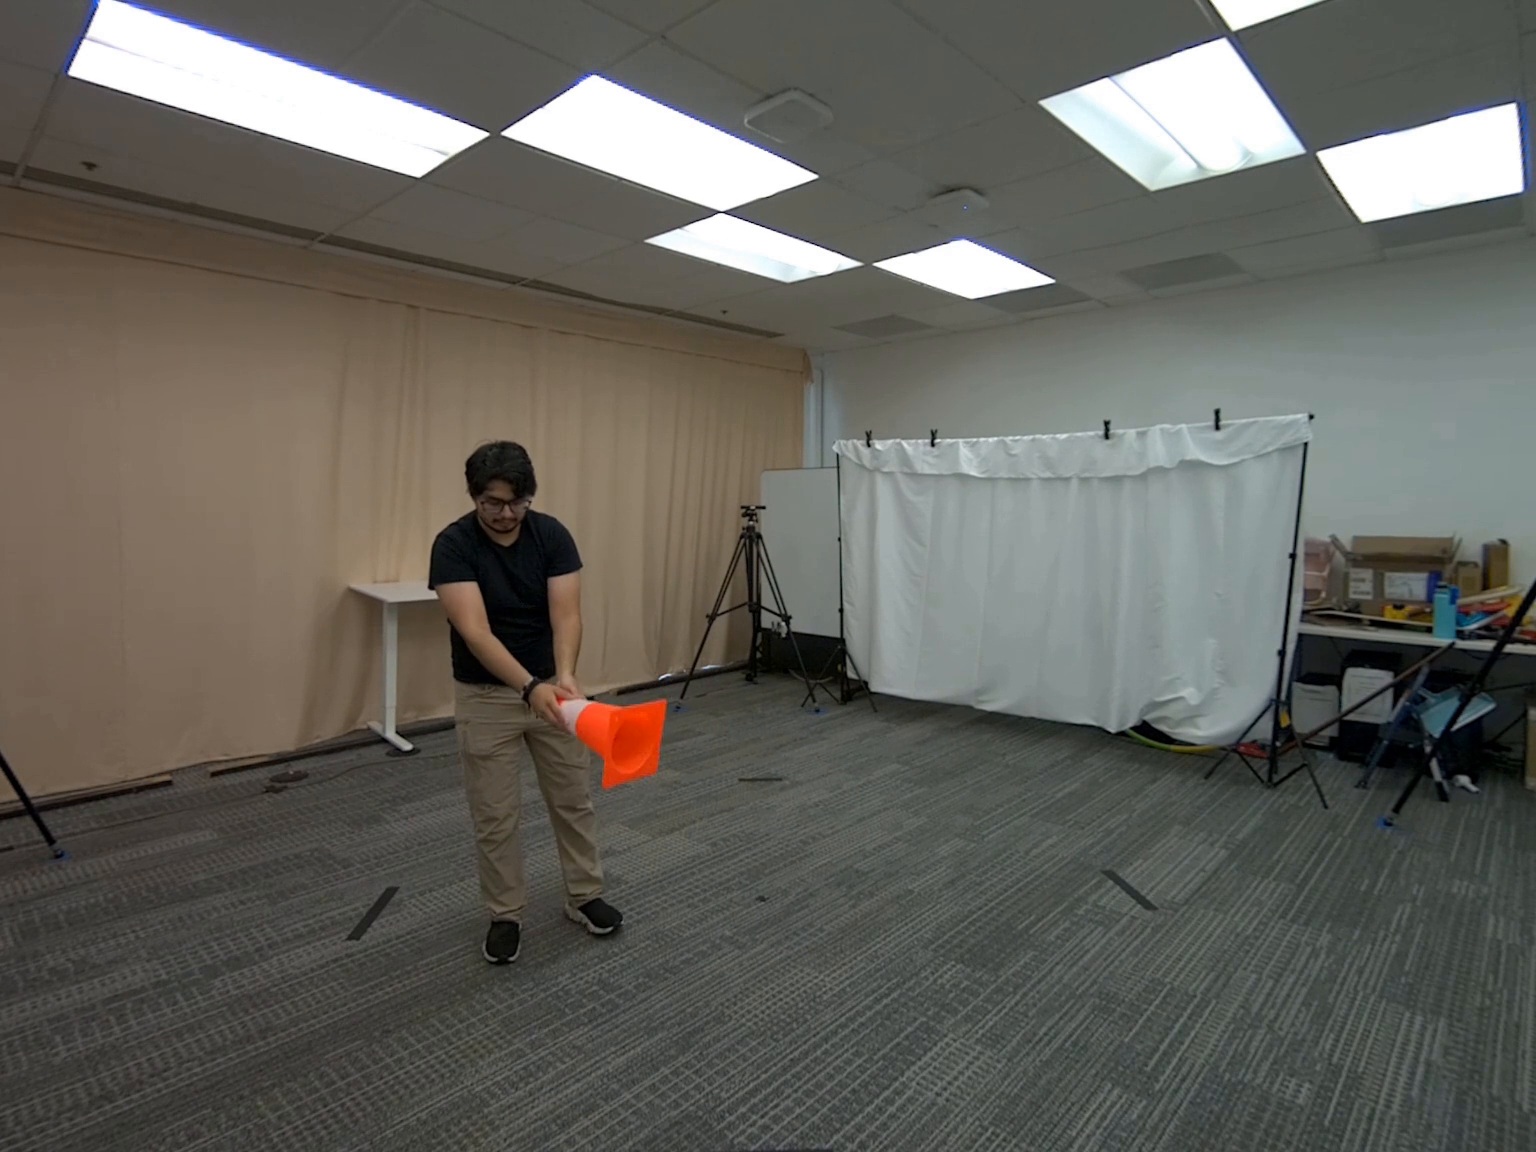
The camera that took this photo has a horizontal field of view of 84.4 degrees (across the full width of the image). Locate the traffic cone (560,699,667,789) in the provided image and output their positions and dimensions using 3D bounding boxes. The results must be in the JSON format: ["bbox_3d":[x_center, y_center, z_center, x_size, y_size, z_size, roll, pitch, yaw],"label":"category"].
[{"bbox_3d":[-0.480,0.380,2.210,0.397,0.204,0.197,12,7,36],"label":"traffic cone"}]
